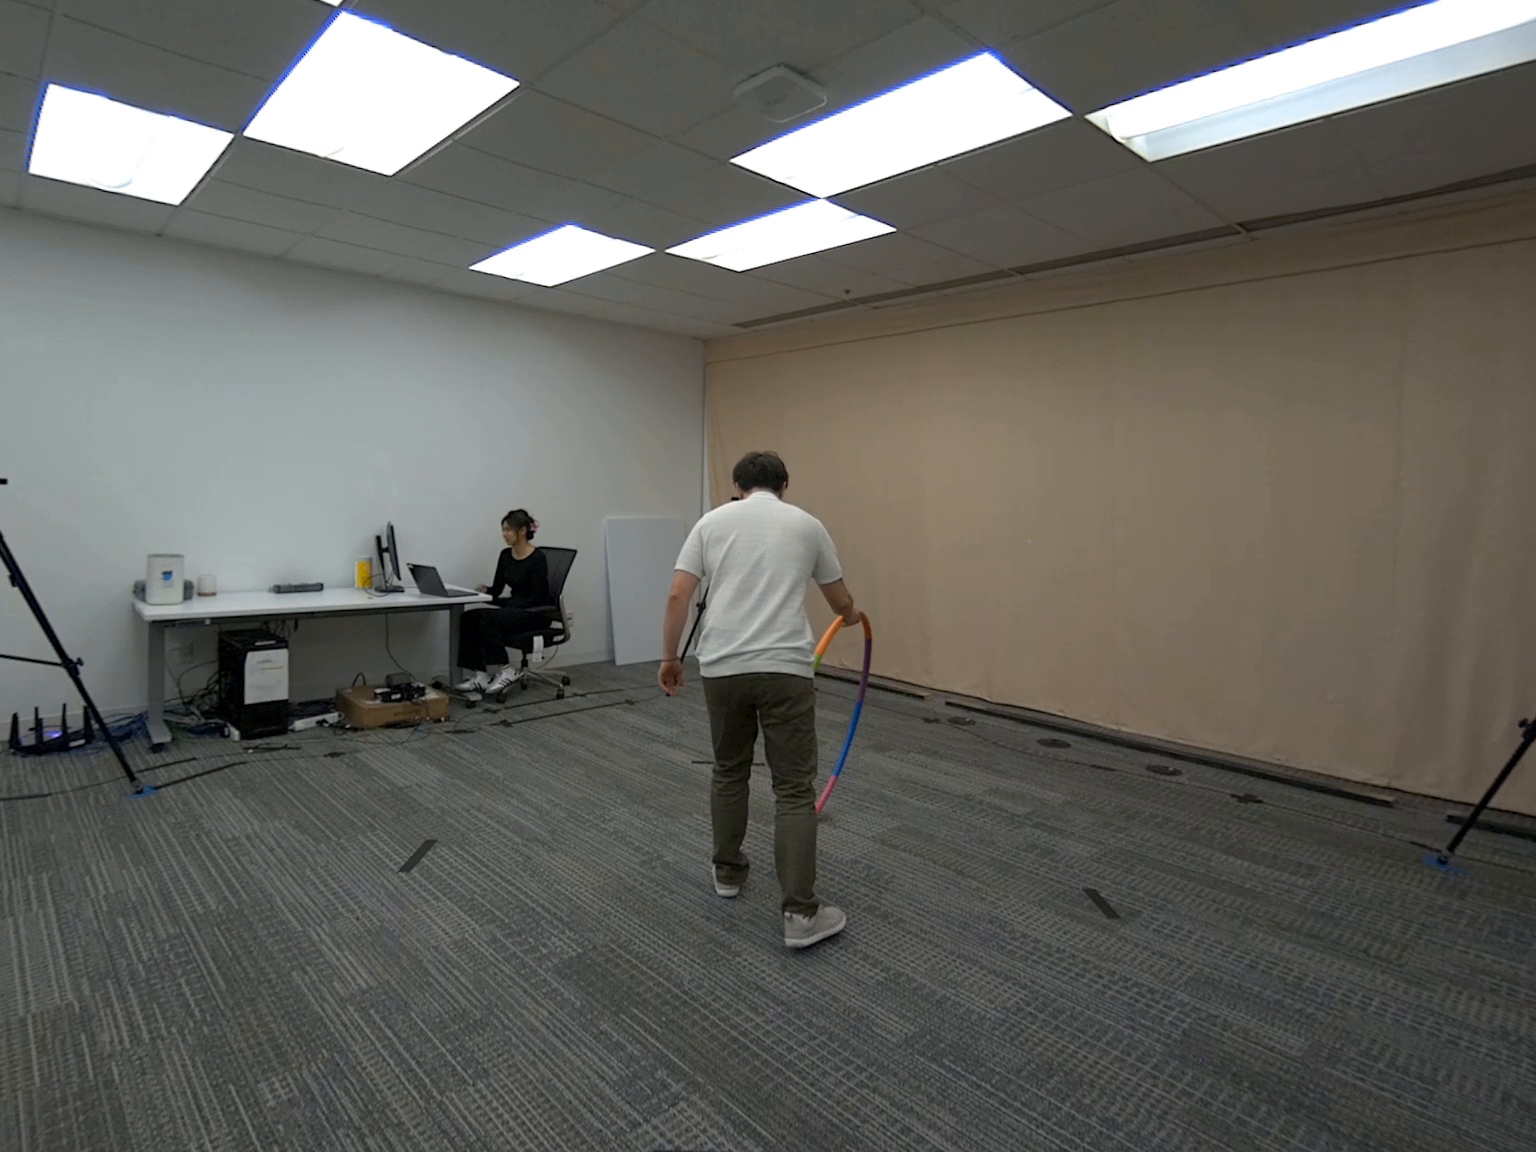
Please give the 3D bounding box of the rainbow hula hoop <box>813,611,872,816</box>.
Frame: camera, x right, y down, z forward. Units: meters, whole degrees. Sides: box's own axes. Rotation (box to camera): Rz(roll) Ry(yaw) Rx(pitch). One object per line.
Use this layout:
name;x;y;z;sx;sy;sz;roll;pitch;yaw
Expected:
rainbow hula hoop;0.233;0.612;3.483;0.036;0.974;0.963;16;10;21
